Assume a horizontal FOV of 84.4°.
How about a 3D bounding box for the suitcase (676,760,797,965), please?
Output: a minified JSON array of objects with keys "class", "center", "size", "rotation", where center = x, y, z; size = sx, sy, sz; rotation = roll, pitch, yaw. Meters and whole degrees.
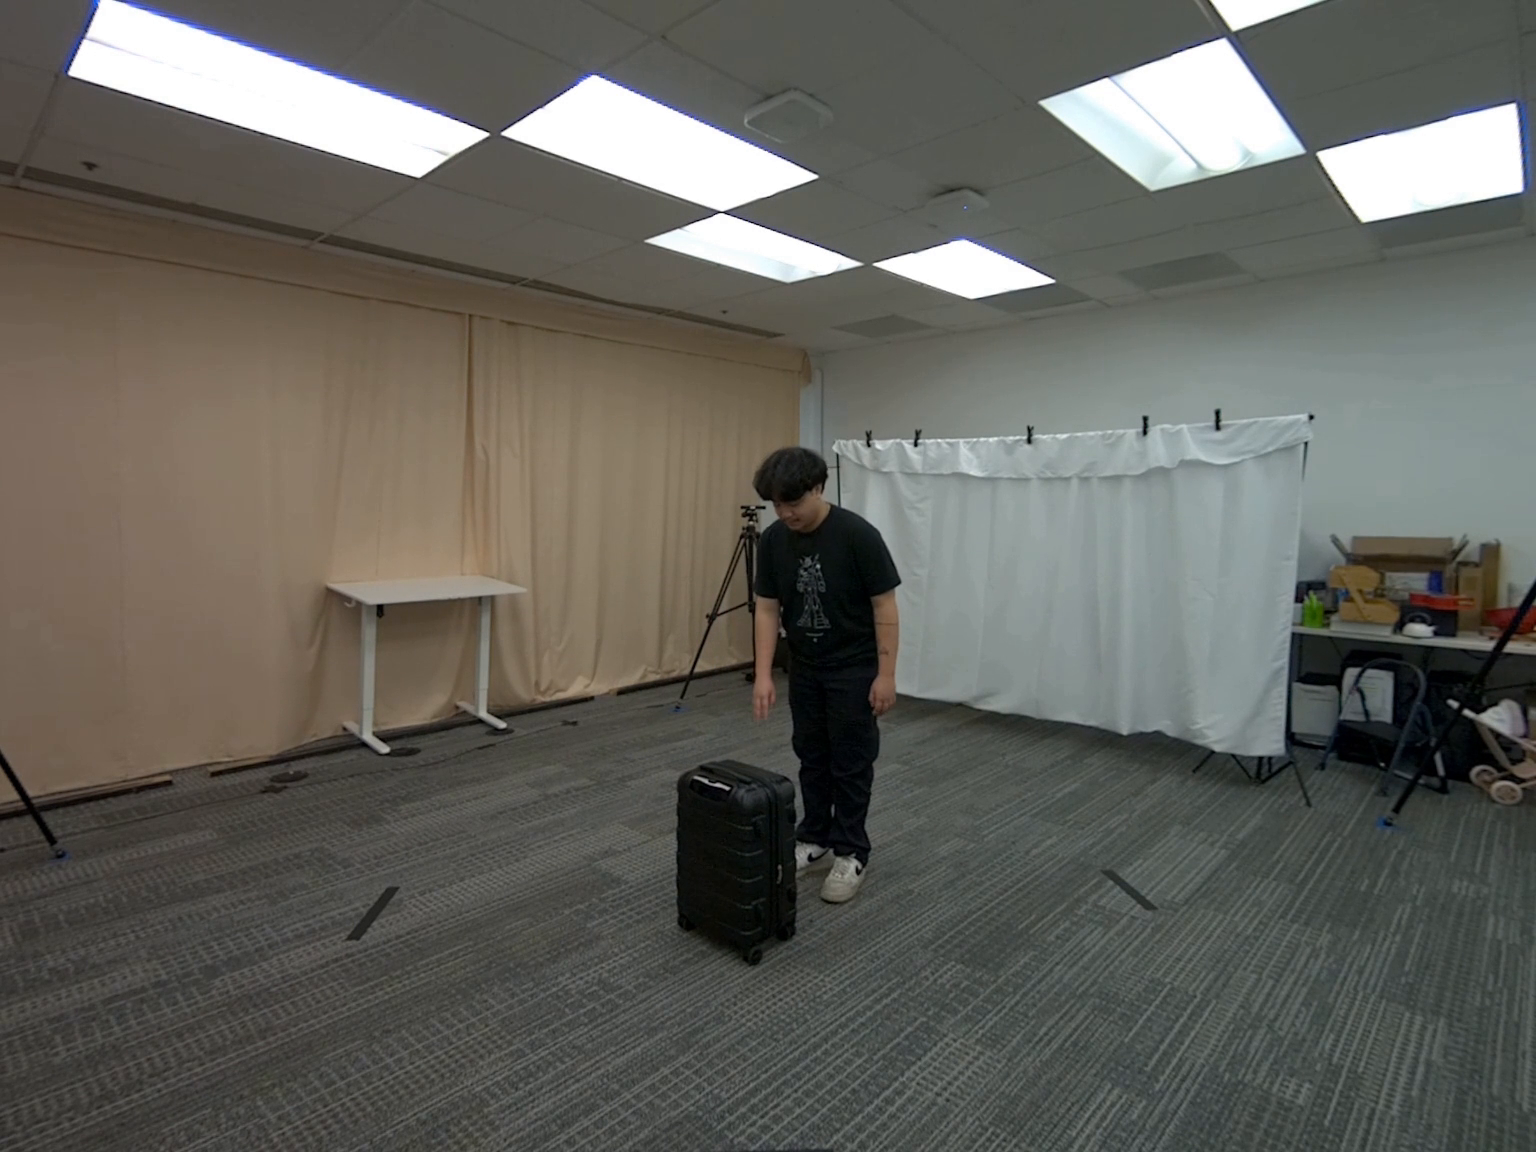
[{"class":"suitcase","center":[-0.103,0.889,2.719],"size":[0.388,0.548,0.241],"rotation":[3,5,44]}]
